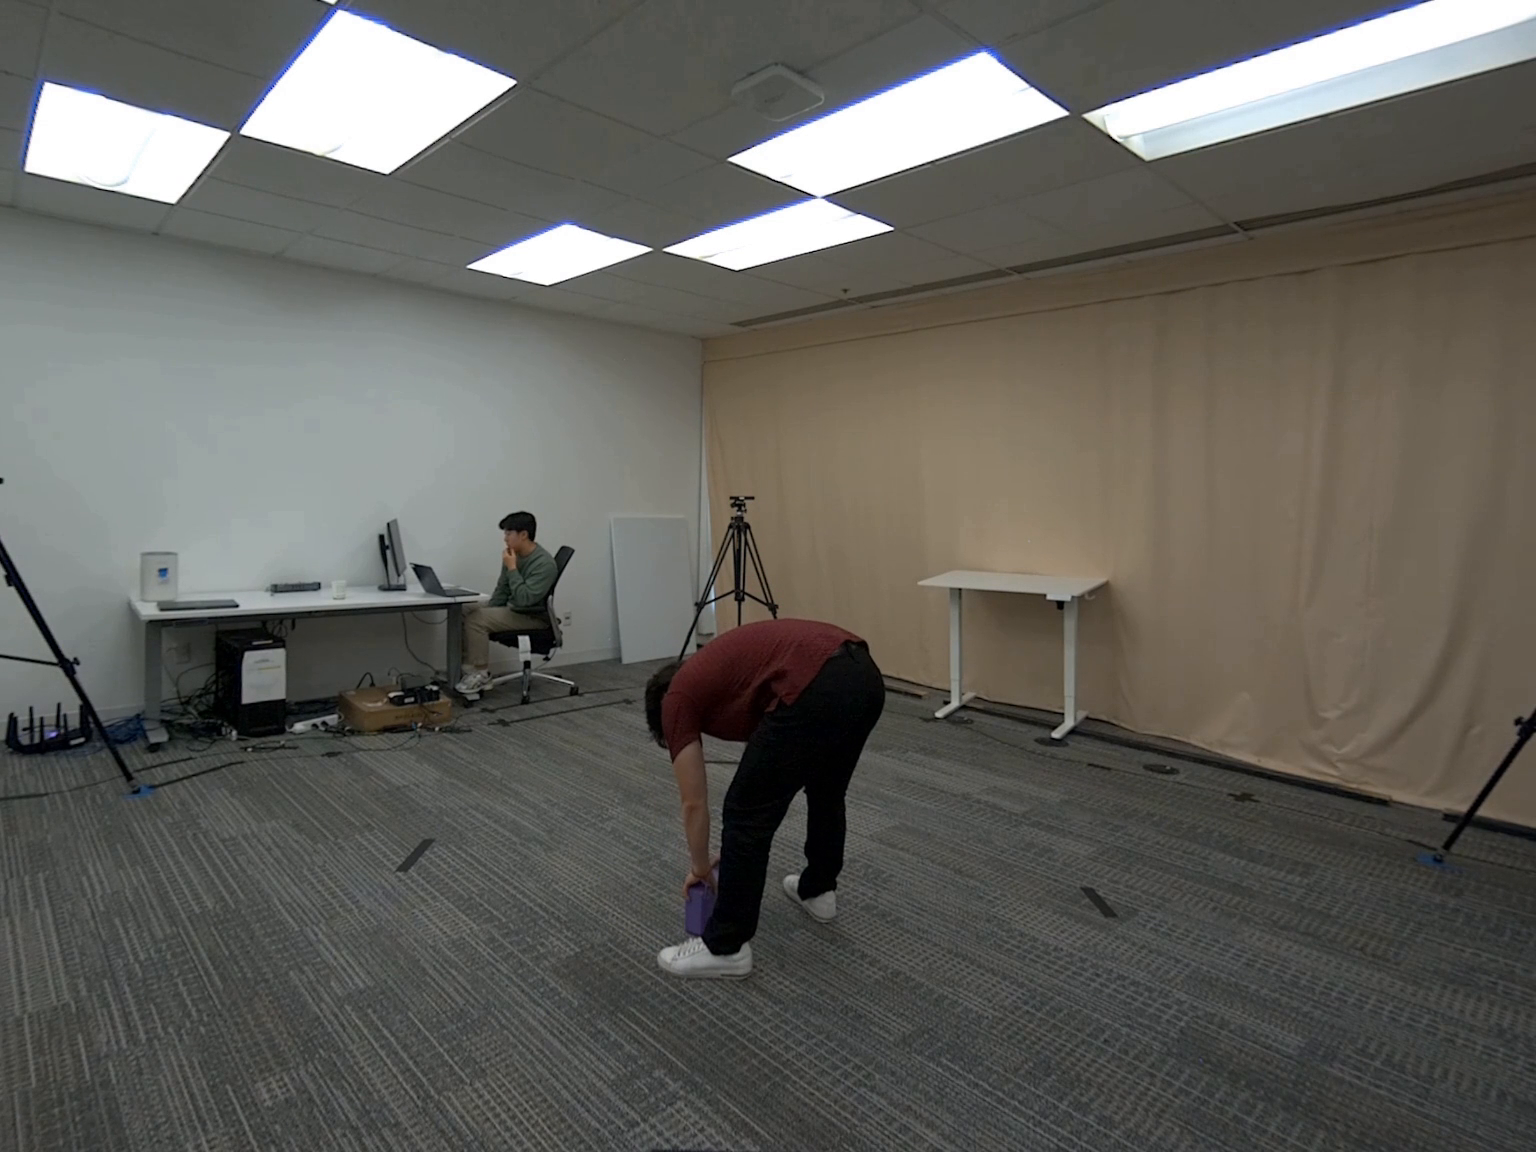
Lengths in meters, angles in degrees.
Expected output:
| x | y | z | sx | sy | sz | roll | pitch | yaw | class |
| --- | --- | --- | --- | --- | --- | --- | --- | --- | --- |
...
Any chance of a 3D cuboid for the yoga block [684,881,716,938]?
| x | y | z | sx | sy | sz | roll | pitch | yaw | class |
| --- | --- | --- | --- | --- | --- | --- | --- | --- | --- |
| -0.180 | 1.063 | 2.756 | 0.078 | 0.148 | 0.225 | 7 | 6 | 26 | yoga block |
